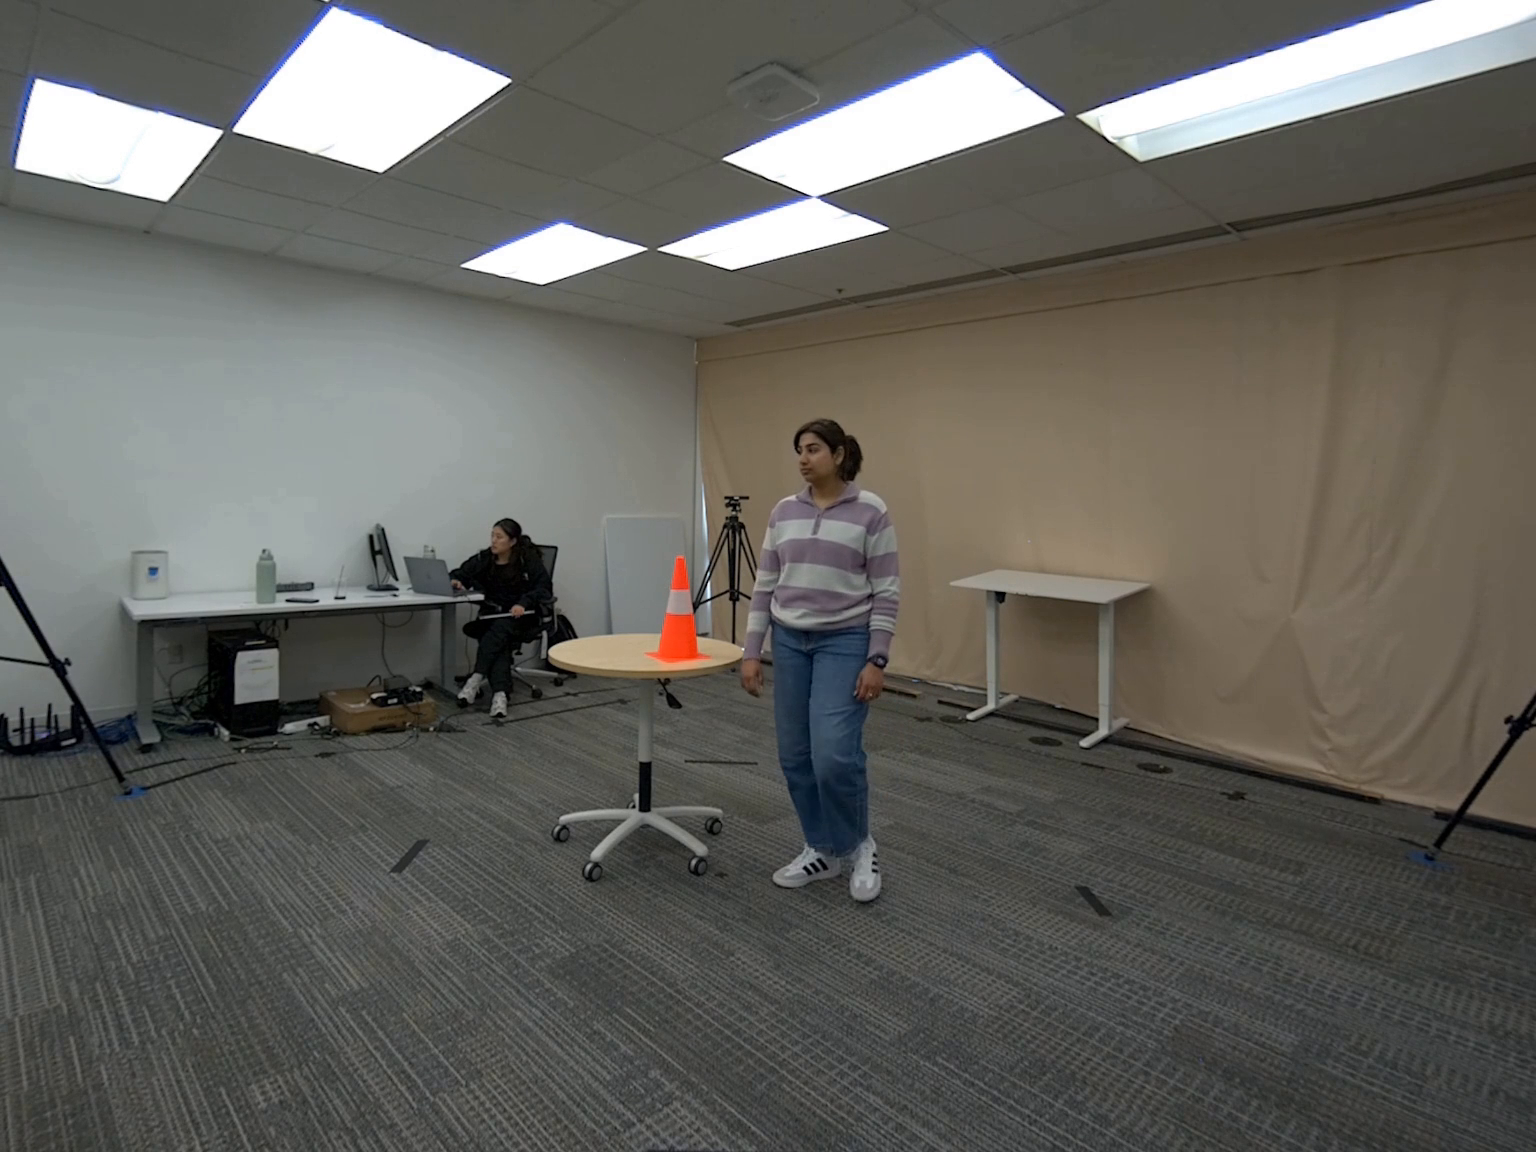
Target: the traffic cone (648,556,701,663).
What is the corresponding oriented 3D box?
[{"bbox_3d":[-0.341,0.119,3.208,0.209,0.383,0.199,3,3,30],"label":"traffic cone"}]
